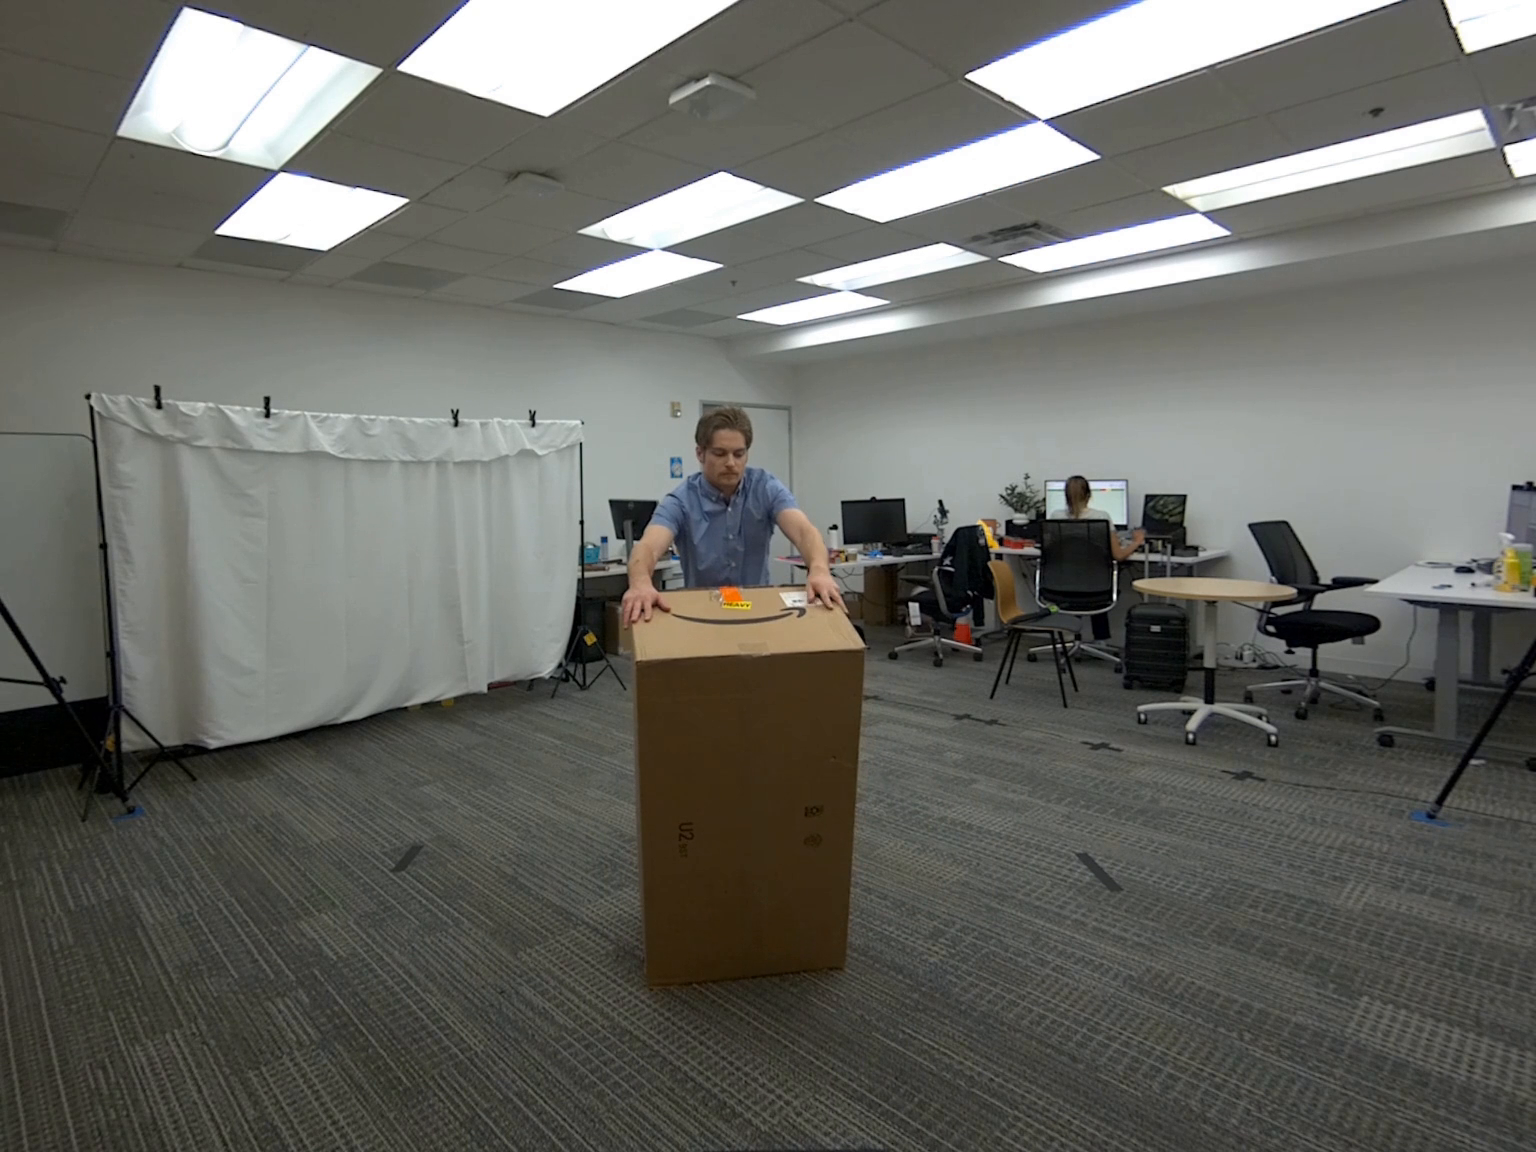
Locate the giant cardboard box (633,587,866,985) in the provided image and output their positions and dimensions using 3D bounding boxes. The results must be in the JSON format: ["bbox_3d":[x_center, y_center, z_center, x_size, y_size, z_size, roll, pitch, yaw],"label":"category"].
[{"bbox_3d":[-0.087,0.581,2.431,0.580,1.010,0.457,-1,19,-8],"label":"giant cardboard box"}]
